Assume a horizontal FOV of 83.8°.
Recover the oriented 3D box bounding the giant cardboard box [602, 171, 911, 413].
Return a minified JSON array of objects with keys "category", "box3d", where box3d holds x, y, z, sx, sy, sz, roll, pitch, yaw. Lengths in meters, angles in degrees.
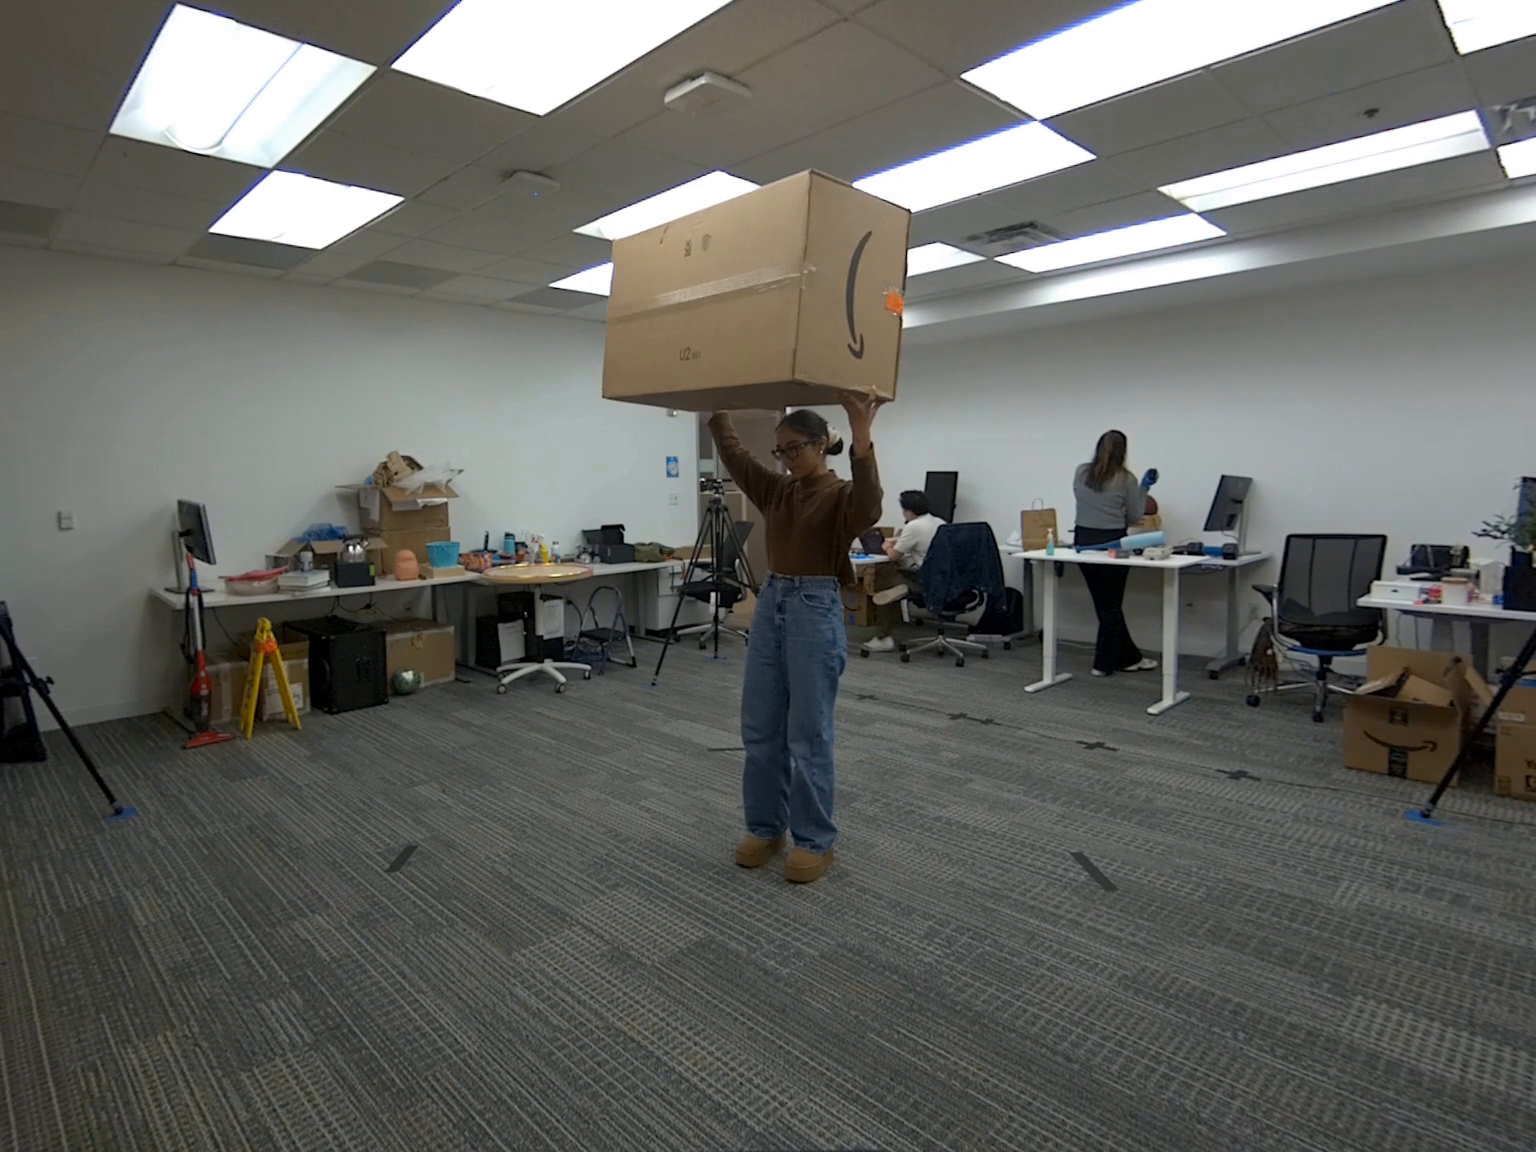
[{"category":"giant cardboard box","box3d":[-0.082,-0.865,2.838,0.414,0.576,1.059,2,4,-40]}]
